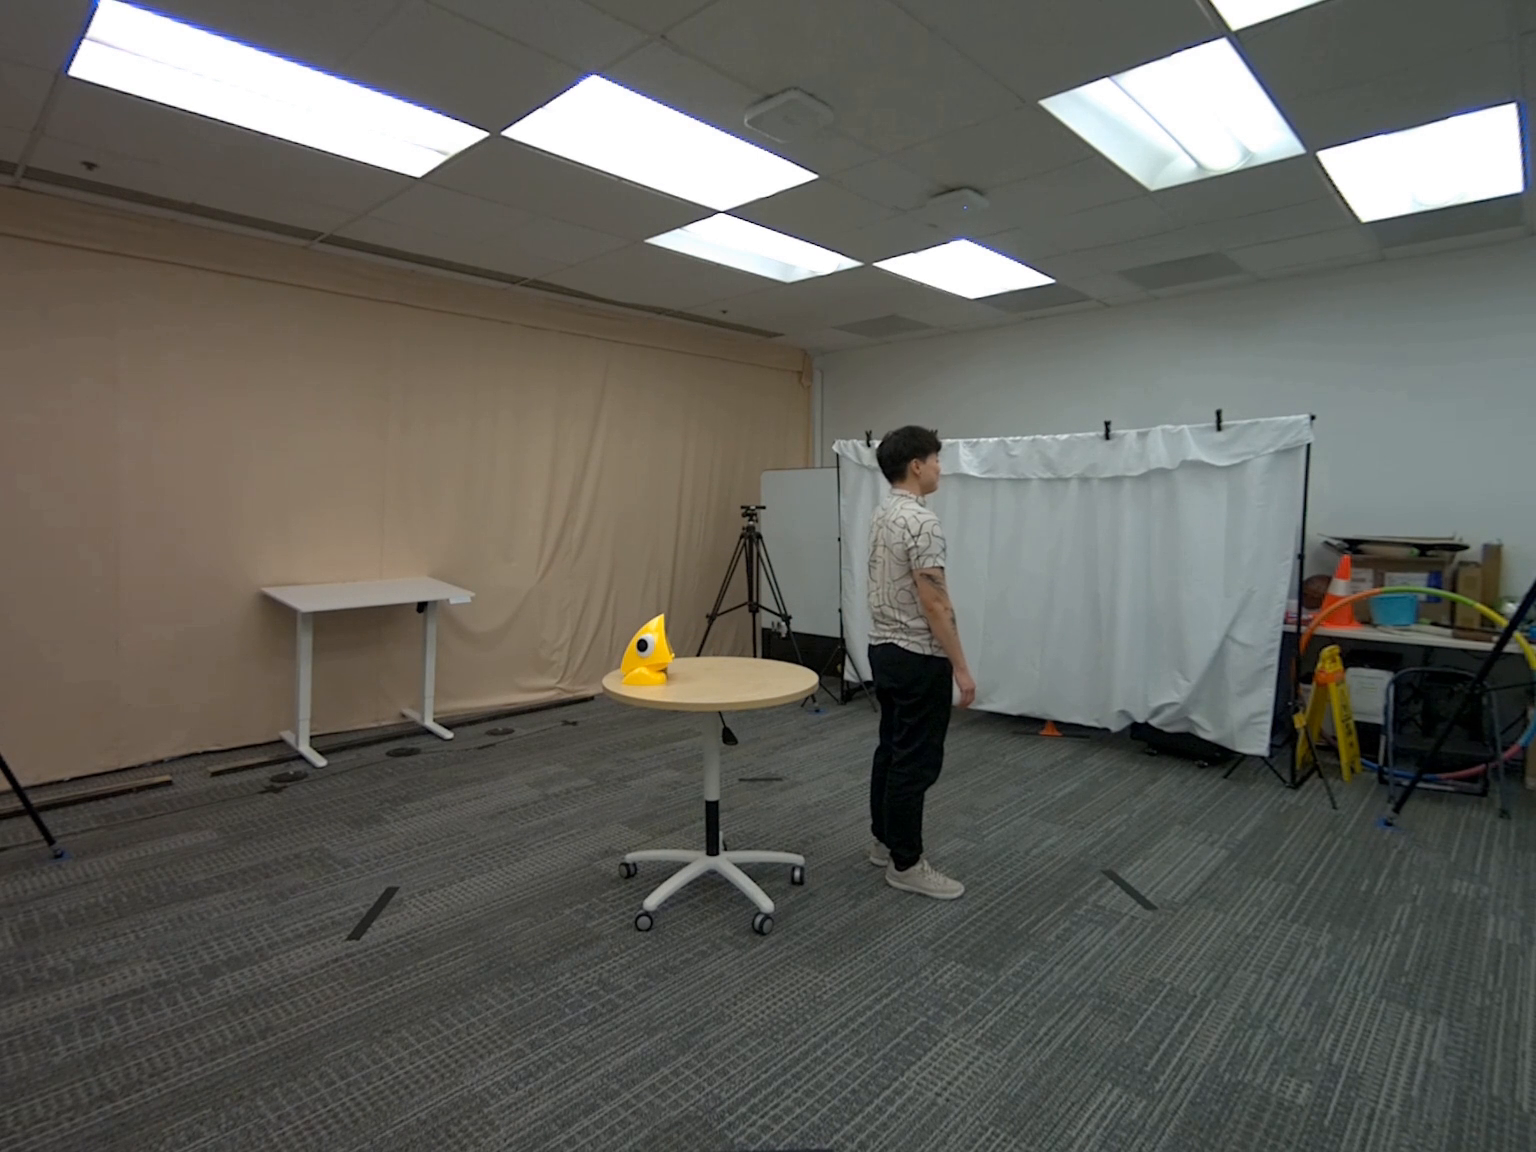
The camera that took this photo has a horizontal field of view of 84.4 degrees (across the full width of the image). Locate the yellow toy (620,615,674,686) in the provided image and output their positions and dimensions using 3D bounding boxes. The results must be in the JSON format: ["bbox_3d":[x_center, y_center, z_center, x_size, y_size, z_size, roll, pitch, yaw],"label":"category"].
[{"bbox_3d":[-0.425,0.251,2.979,0.193,0.230,0.206,-1,4,-3],"label":"yellow toy"}]
